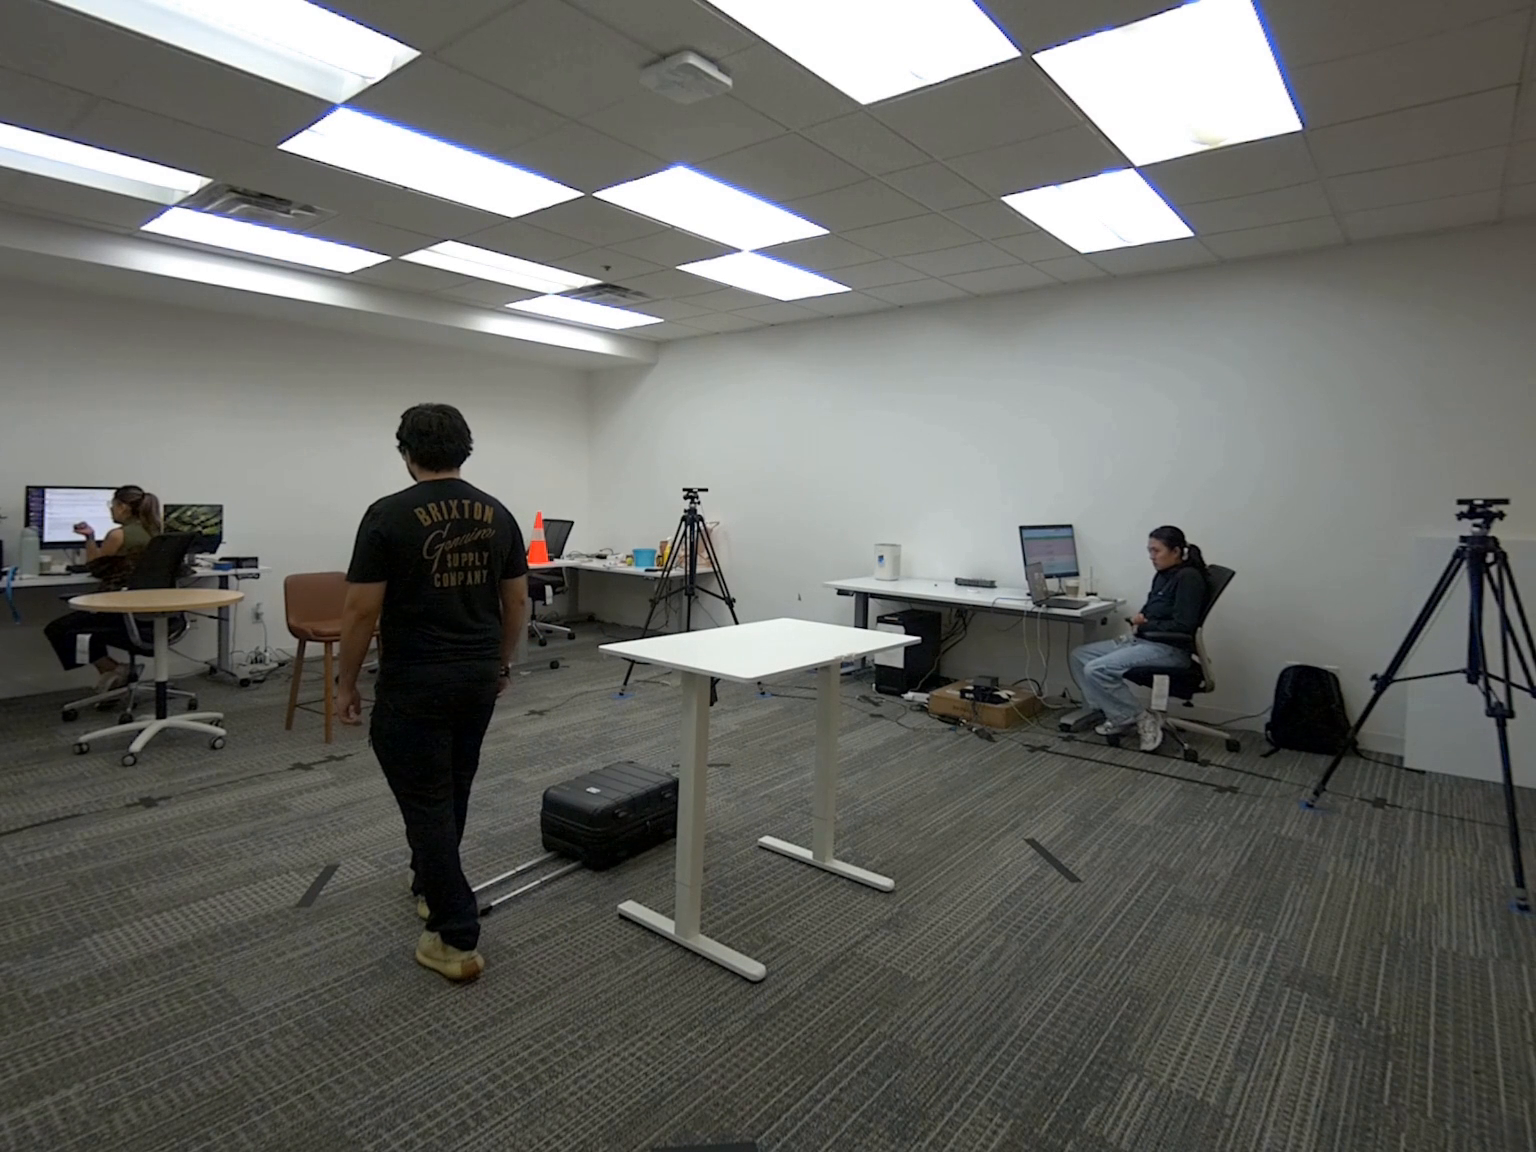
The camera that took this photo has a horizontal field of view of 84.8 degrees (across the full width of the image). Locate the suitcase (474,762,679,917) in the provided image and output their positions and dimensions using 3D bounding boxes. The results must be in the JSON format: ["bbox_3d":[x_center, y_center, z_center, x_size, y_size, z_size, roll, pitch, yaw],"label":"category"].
[{"bbox_3d":[-0.725,0.927,3.167,0.396,0.256,0.950,6,5,34],"label":"suitcase"}]
